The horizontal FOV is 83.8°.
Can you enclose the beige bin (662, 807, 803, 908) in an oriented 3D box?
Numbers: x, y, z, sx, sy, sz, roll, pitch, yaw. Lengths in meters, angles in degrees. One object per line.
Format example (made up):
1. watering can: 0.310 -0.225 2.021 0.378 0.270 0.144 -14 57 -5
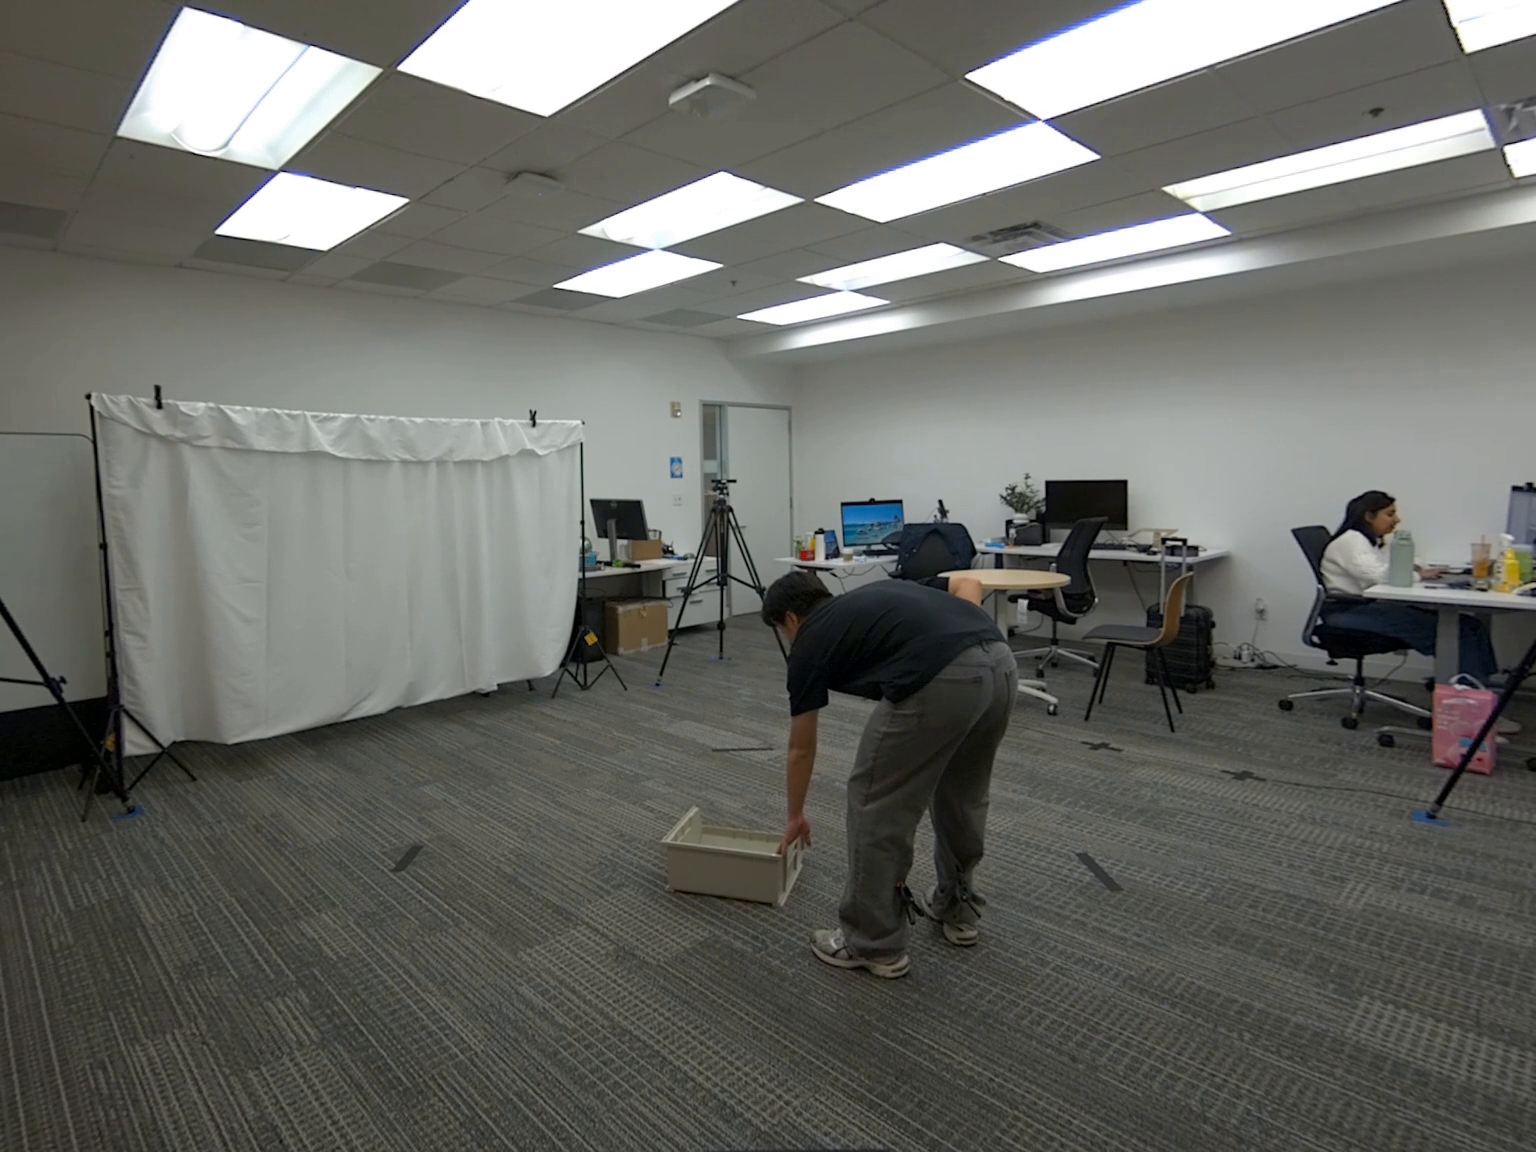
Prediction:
1. beige bin: -0.110 0.971 3.009 0.429 0.188 0.373 1 7 16
